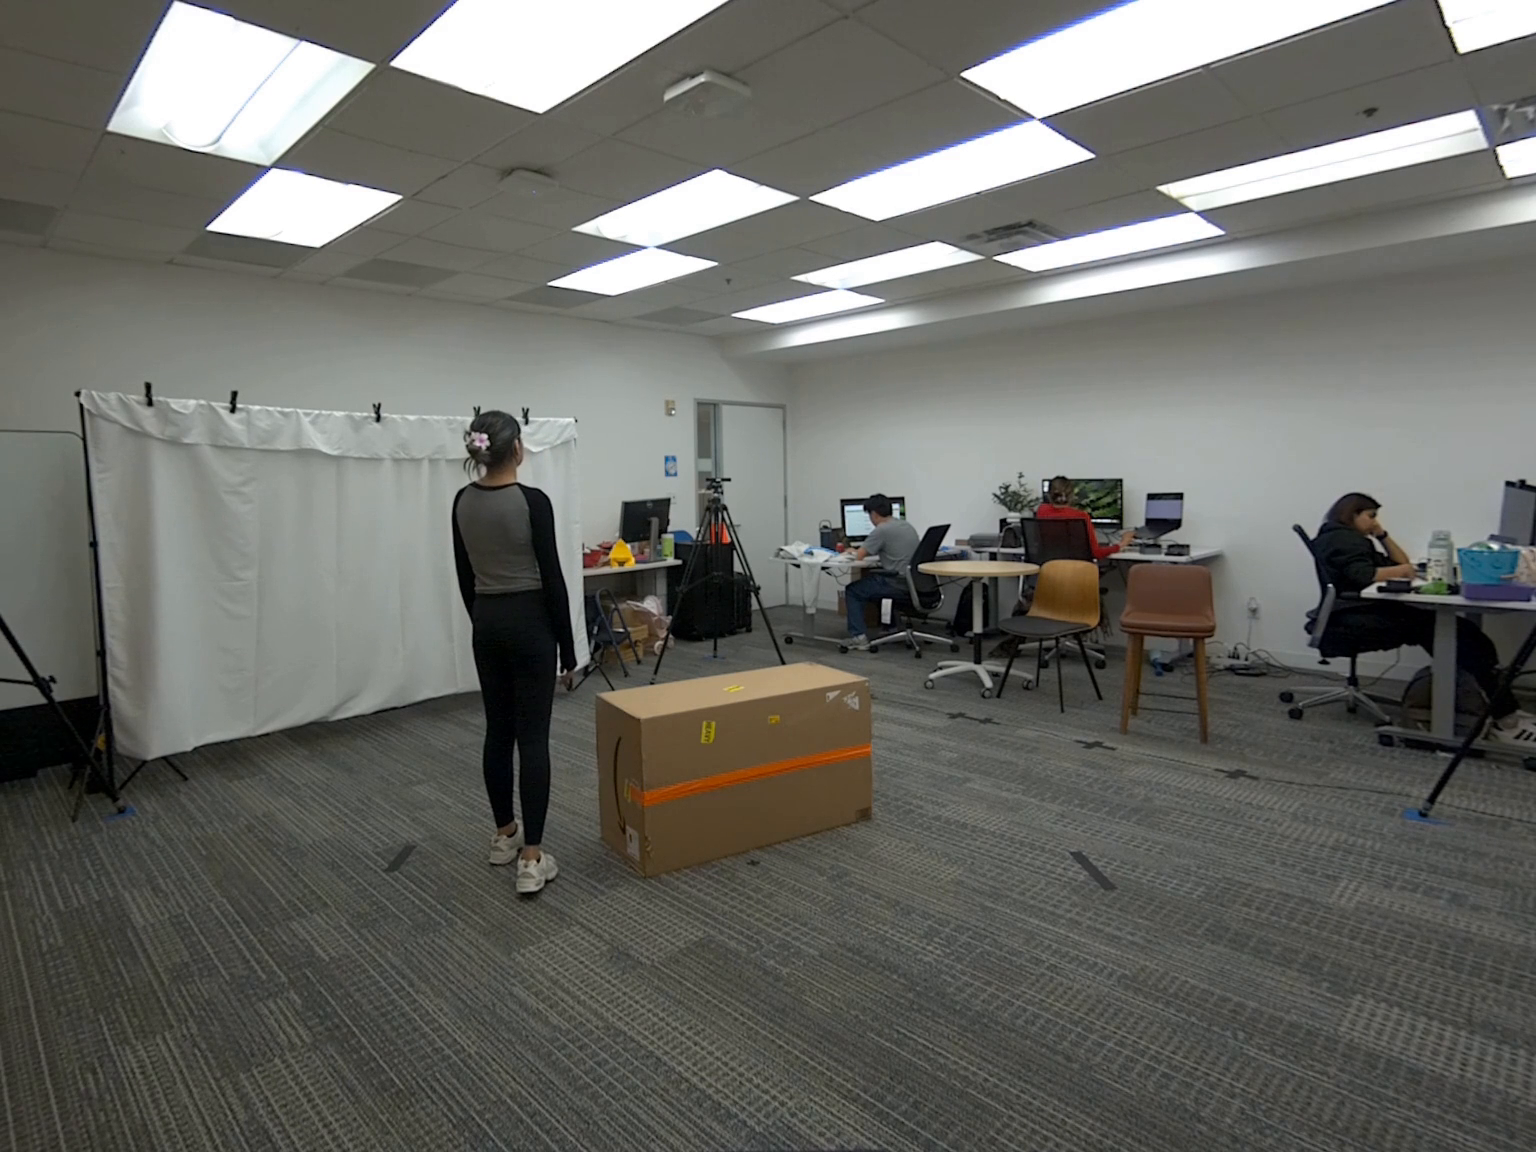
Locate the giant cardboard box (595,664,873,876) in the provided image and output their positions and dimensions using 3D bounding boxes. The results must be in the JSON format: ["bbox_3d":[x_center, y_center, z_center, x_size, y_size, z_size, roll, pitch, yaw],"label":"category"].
[{"bbox_3d":[-0.121,0.722,3.401,1.002,0.575,0.438,-5,5,-30],"label":"giant cardboard box"}]
